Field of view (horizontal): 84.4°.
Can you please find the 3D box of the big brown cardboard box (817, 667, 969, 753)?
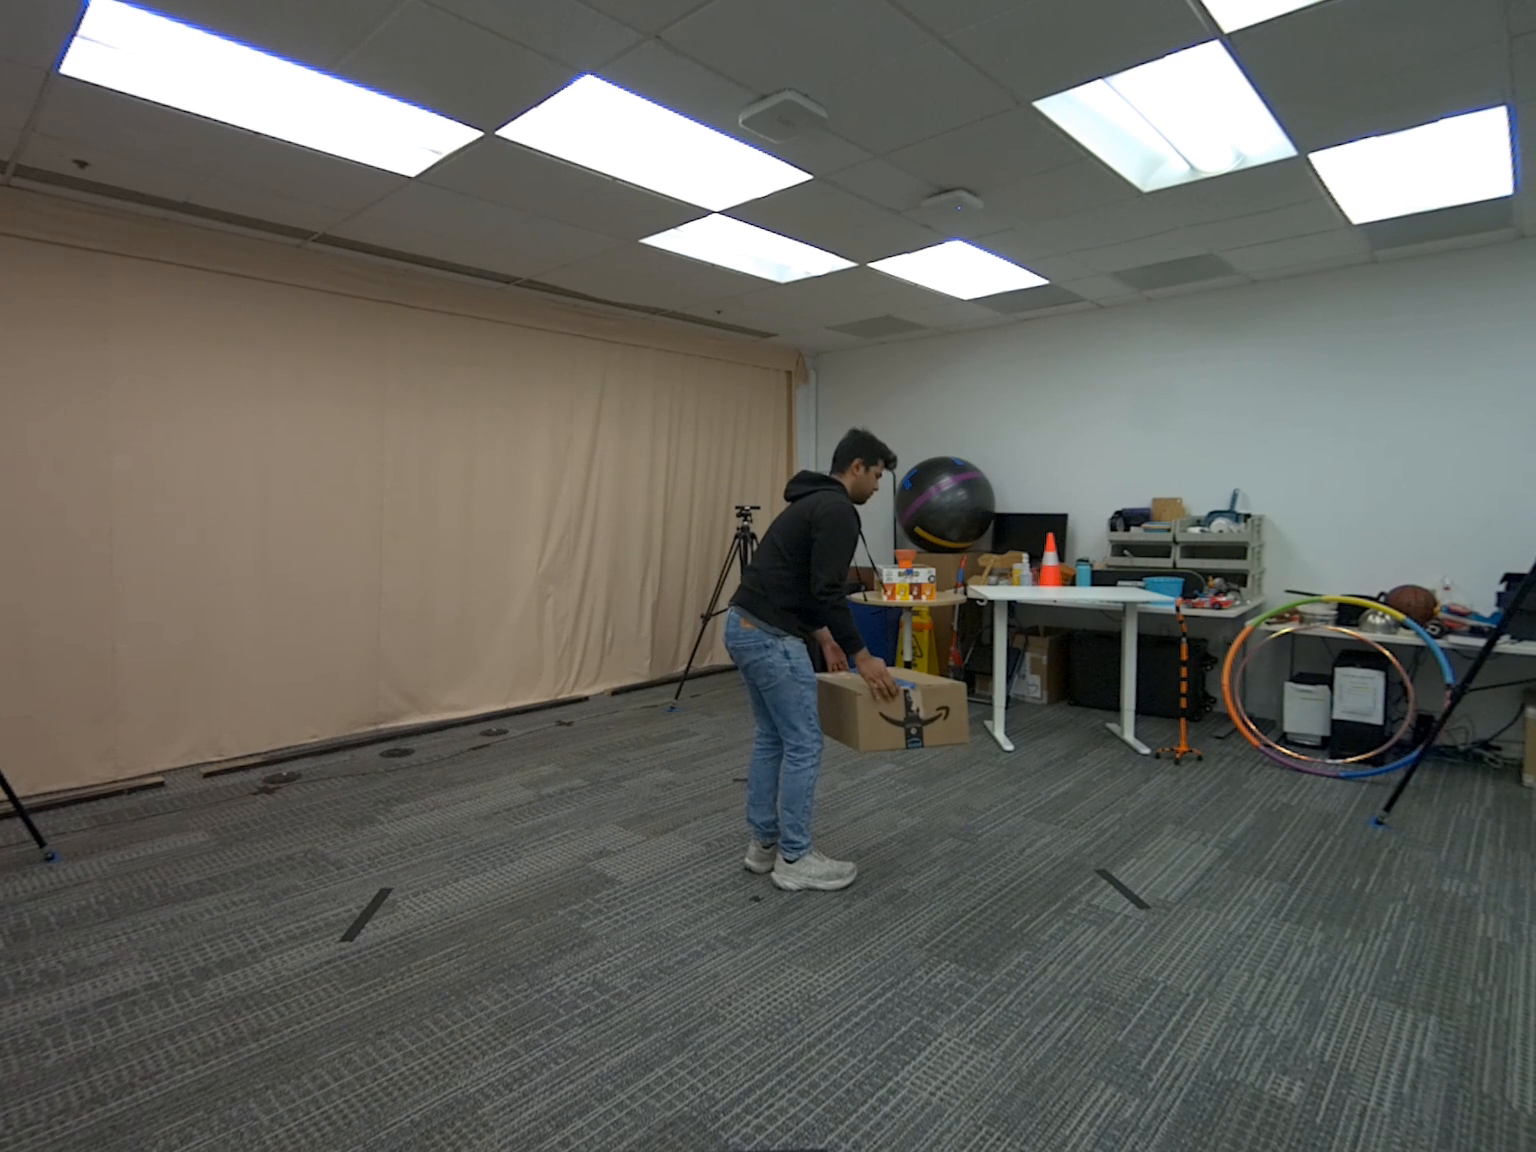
[{"bbox_3d":[0.442,0.504,3.237,0.412,0.233,0.597,-3,1,-14],"label":"big brown cardboard box"}]
